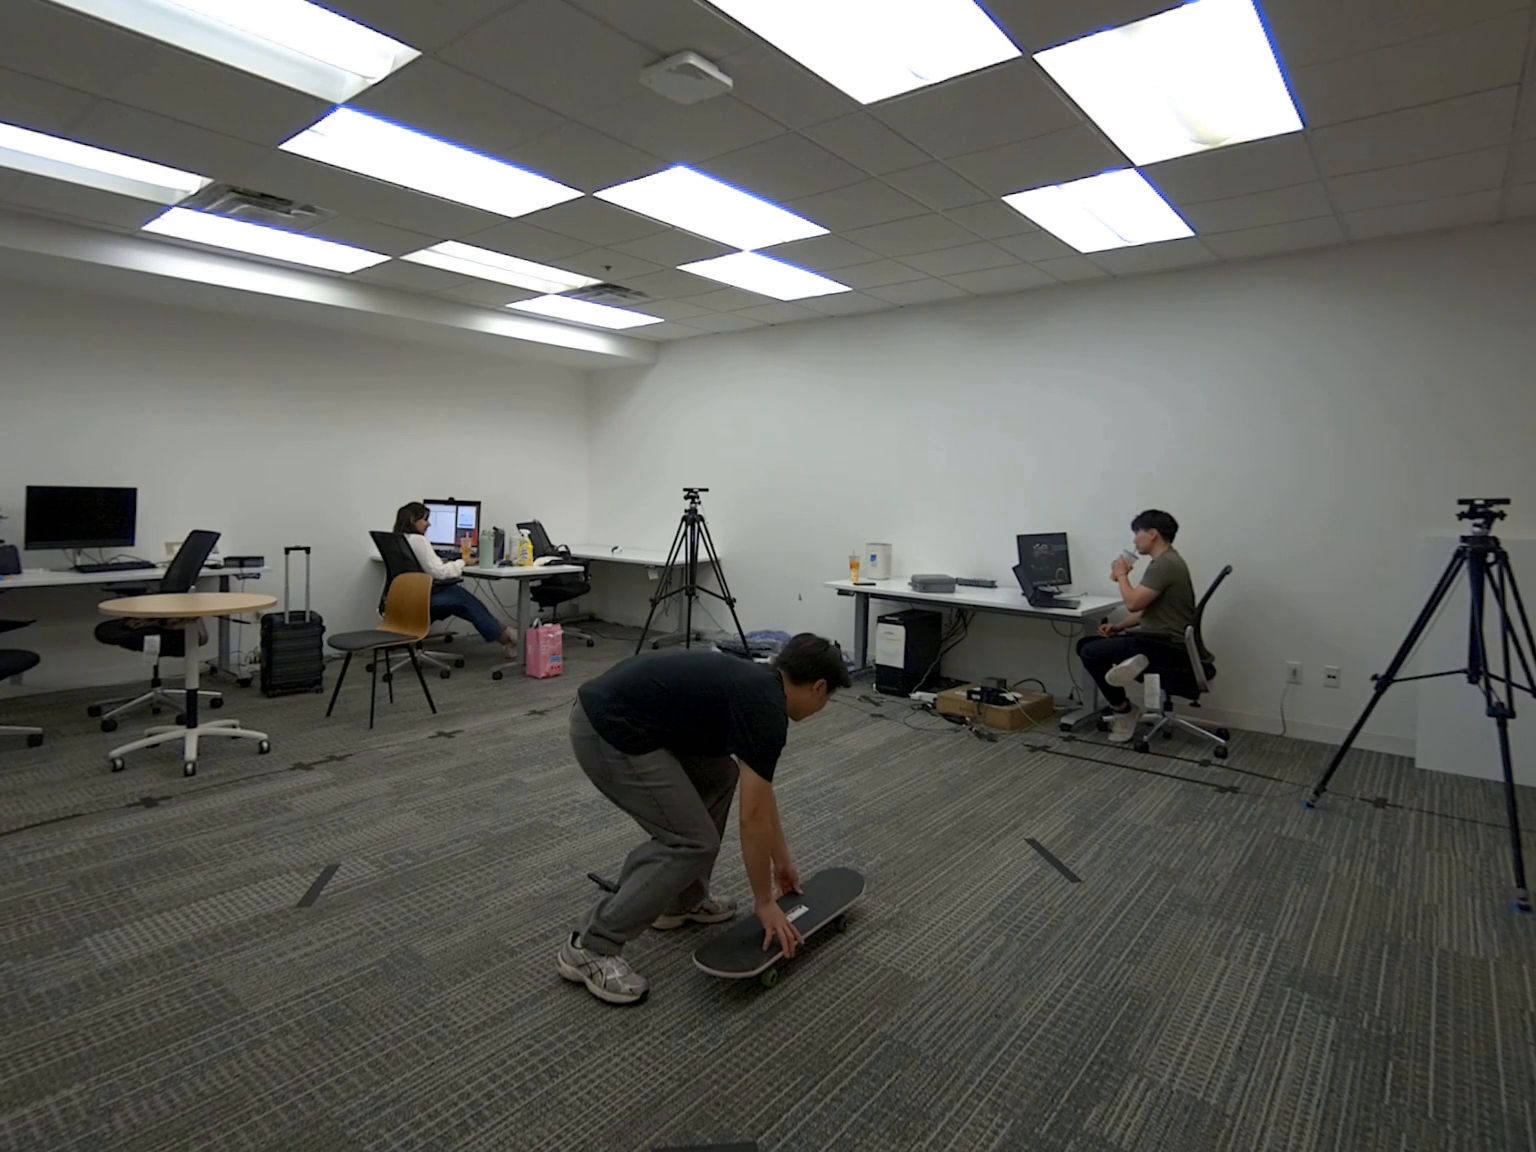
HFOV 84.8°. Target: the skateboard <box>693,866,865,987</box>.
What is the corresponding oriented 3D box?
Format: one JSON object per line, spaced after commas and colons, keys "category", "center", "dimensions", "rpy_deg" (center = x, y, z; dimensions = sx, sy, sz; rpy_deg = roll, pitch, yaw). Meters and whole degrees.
{"category": "skateboard", "center": [0.049, 1.067, 2.590], "dimensions": [0.200, 0.110, 0.763], "rpy_deg": [6, 8, 36]}
